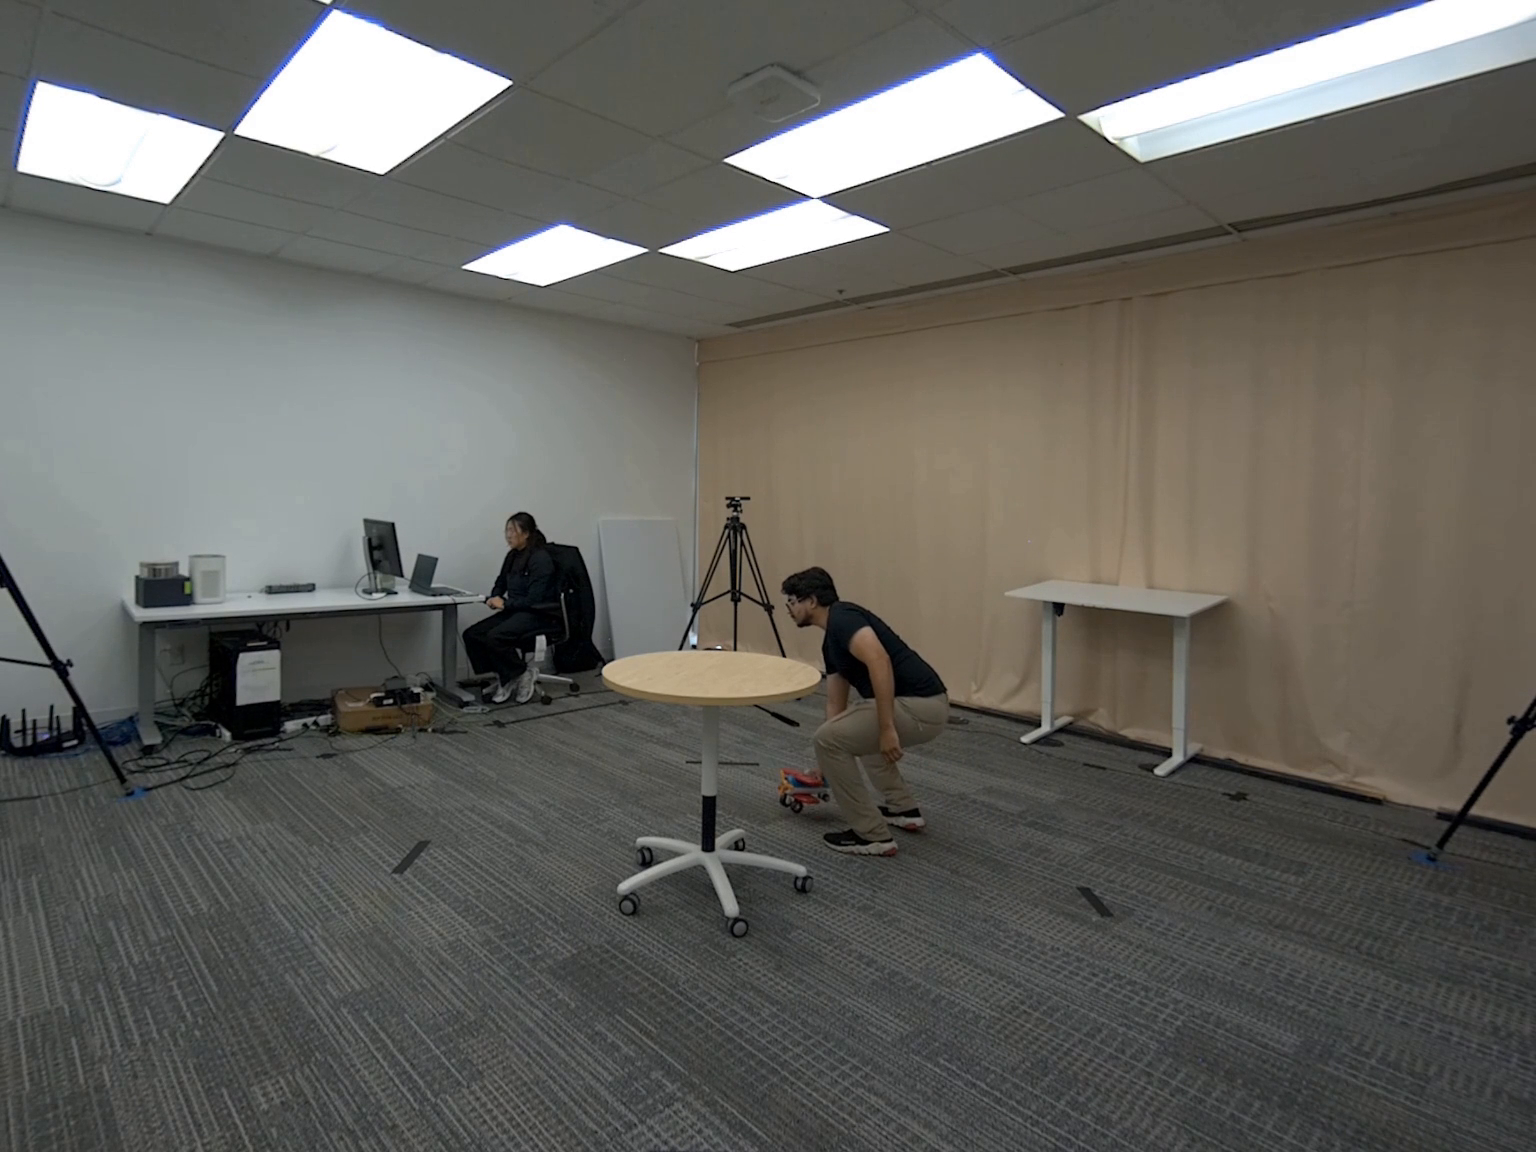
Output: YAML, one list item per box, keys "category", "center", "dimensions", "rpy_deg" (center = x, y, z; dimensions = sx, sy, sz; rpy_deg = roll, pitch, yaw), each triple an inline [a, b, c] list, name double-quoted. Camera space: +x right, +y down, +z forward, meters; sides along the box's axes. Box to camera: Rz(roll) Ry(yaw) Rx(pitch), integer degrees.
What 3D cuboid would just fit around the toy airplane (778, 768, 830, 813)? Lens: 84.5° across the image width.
- category: "toy airplane"
  center: [0.150, 0.935, 3.731]
  dimensions: [0.256, 0.156, 0.255]
  rpy_deg: [-1, 7, 31]
